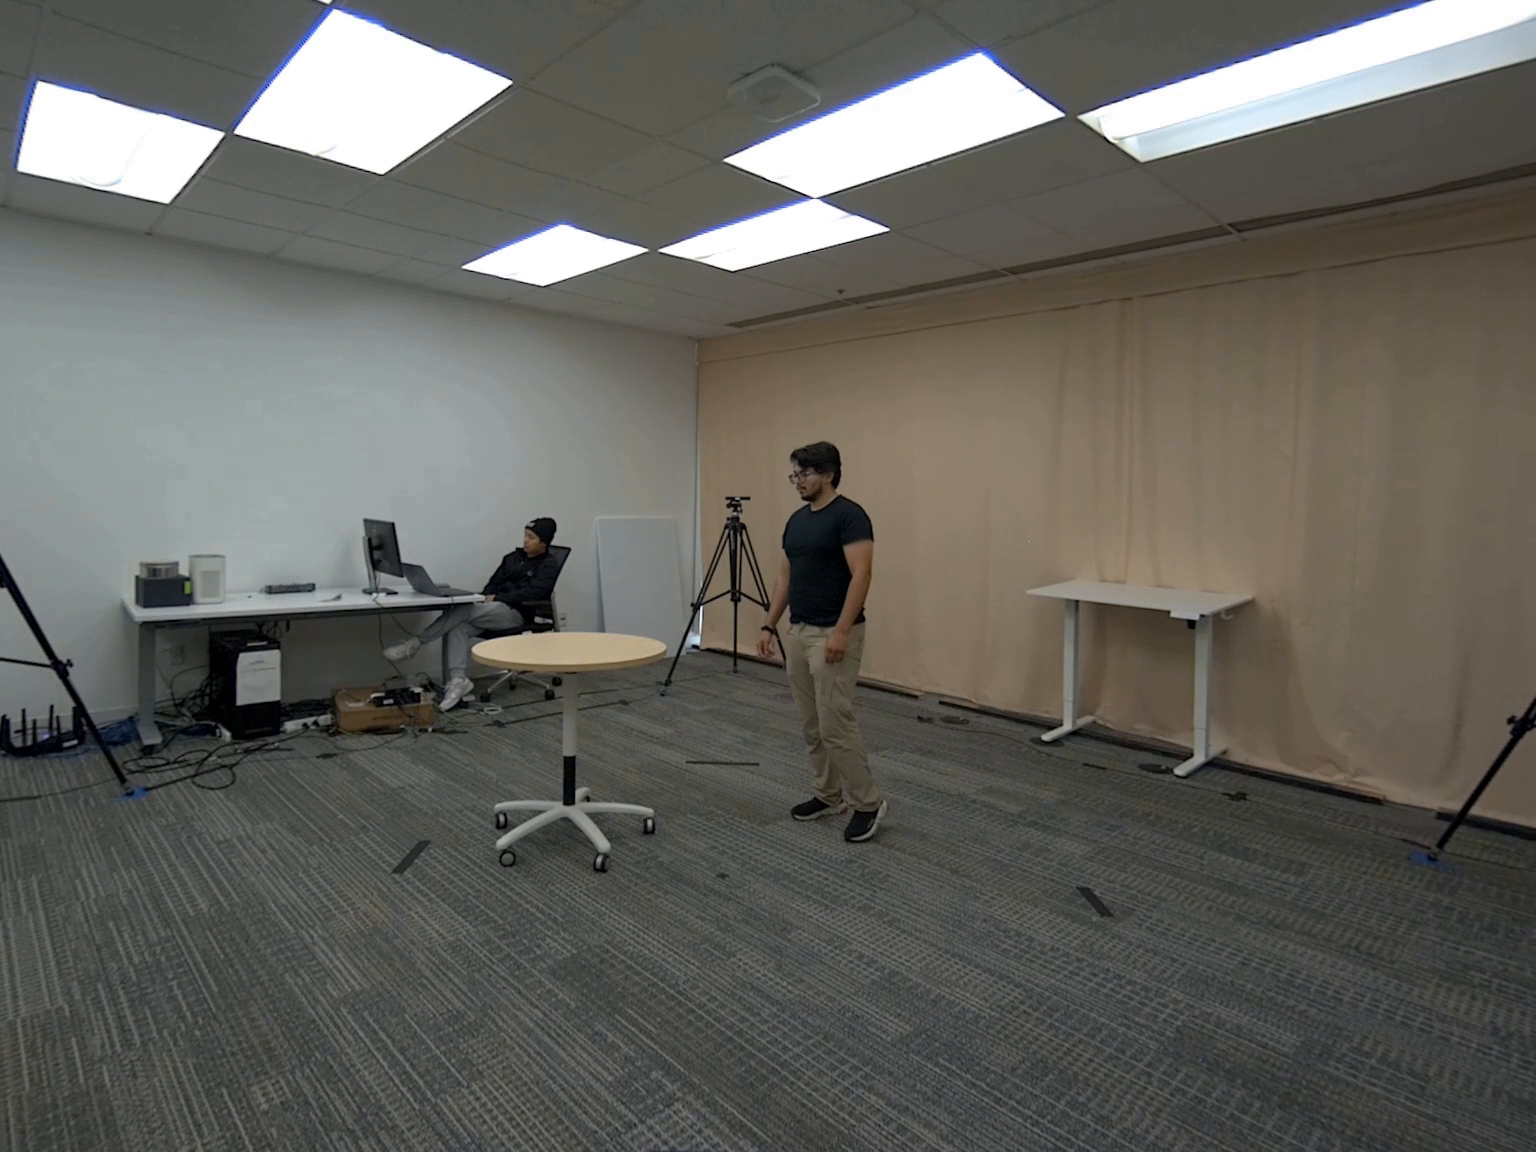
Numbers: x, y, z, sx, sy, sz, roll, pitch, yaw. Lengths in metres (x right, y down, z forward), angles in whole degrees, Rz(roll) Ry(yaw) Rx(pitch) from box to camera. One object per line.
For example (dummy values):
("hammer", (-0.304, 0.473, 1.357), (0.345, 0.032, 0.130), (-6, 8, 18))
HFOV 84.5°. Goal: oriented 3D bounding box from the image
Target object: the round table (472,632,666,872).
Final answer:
("round table", (-0.817, 0.673, 3.404), (0.784, 0.785, 0.787), (1, 4, -1))
